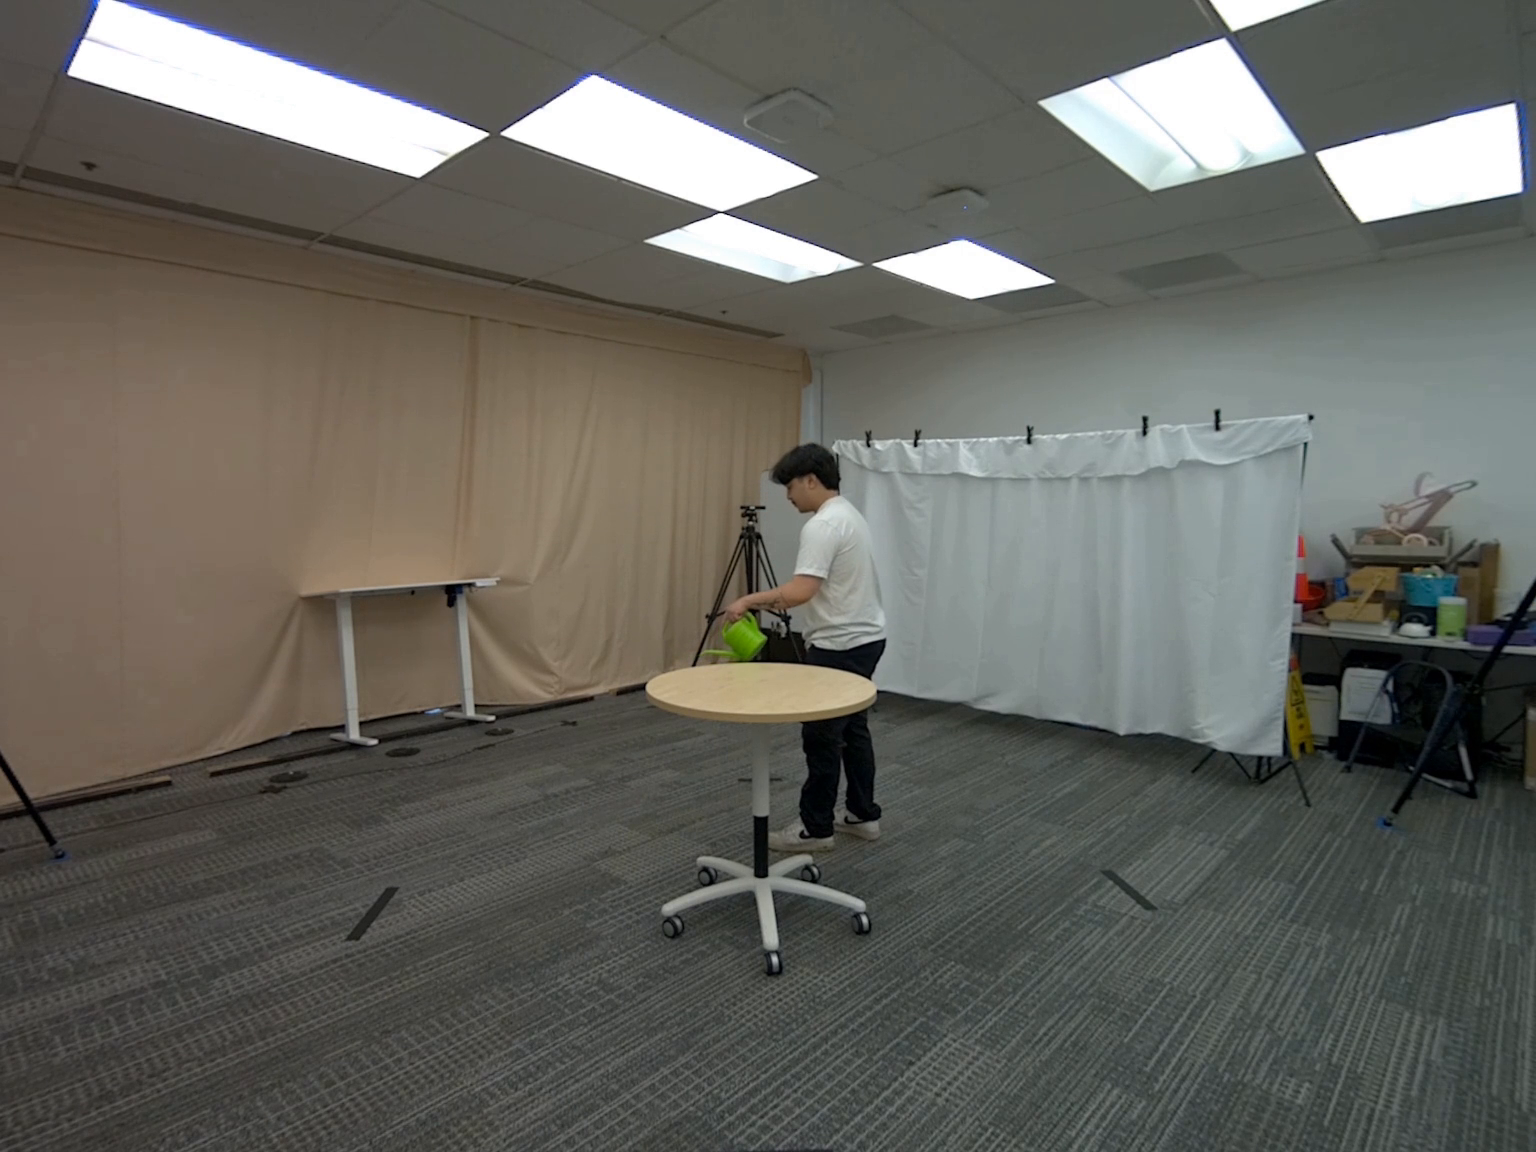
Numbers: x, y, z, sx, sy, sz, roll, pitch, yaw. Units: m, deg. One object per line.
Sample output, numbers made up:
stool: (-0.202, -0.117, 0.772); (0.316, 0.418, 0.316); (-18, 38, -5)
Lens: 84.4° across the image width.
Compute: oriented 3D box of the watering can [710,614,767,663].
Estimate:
watering can: (-0.123, 0.281, 3.426); (0.180, 0.279, 0.096); (43, 22, 15)
